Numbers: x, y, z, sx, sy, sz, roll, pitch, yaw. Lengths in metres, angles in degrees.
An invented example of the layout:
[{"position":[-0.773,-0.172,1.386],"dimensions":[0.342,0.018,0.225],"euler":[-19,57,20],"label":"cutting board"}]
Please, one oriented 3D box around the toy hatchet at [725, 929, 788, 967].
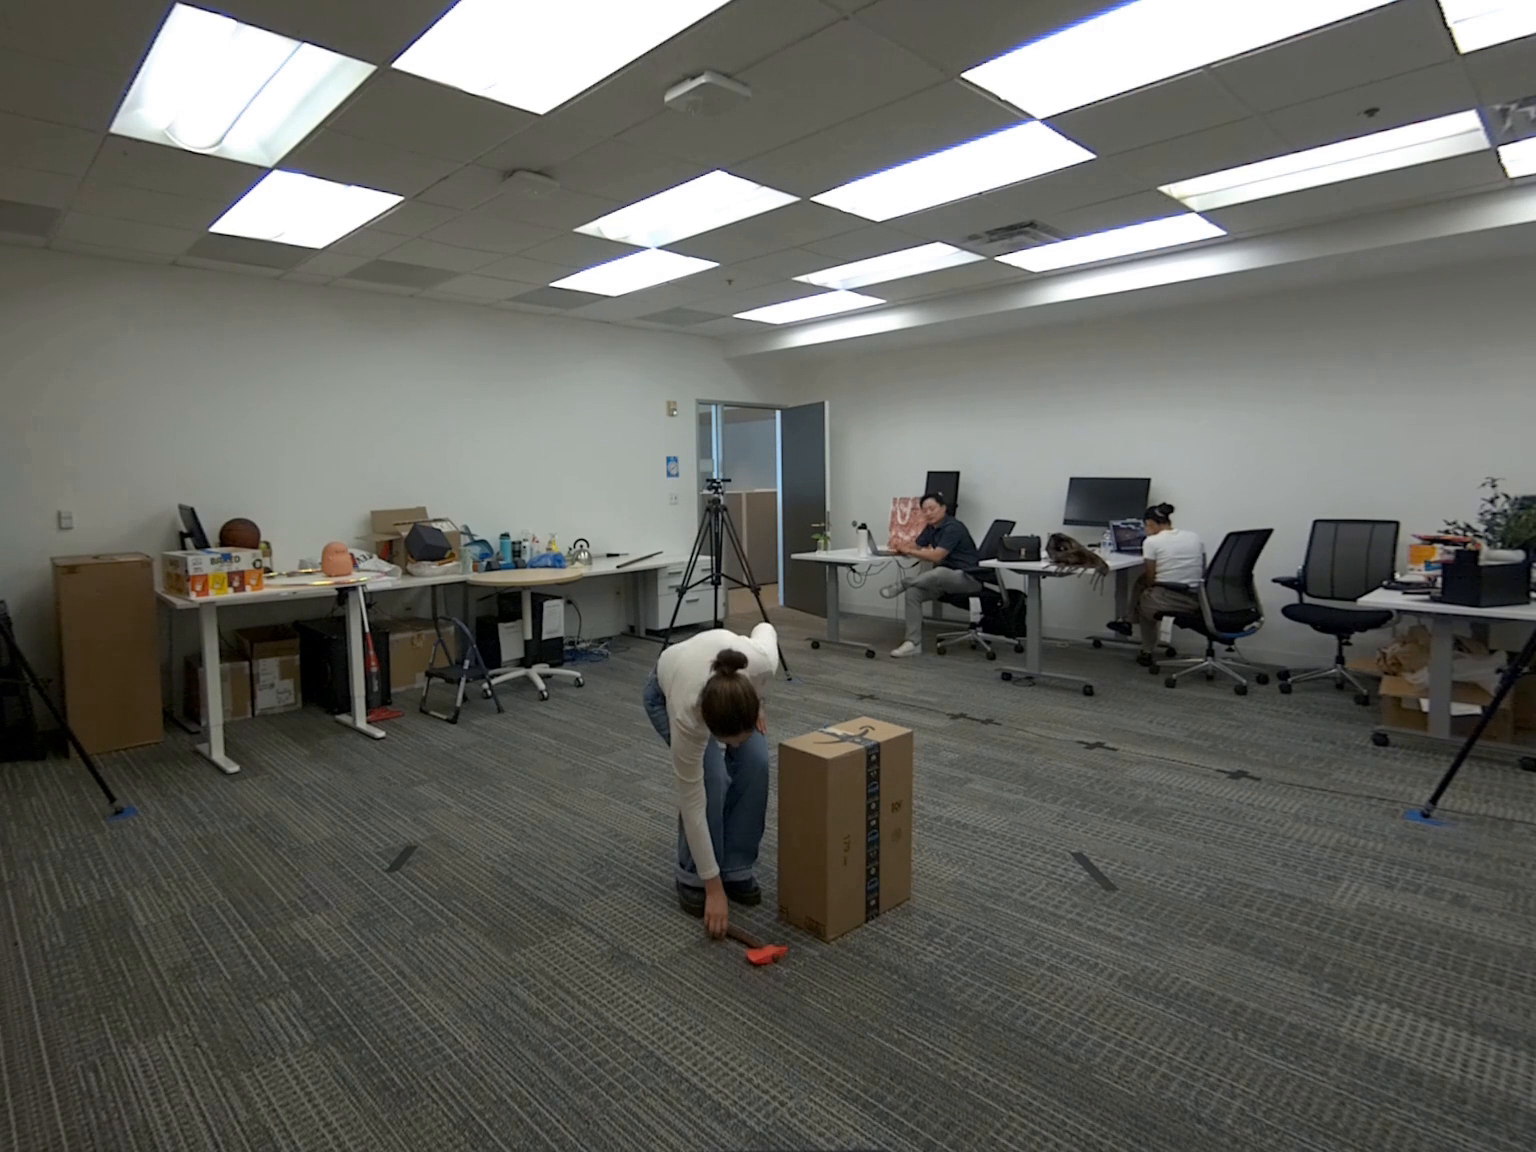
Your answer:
[{"position":[-0.079,1.097,2.541],"dimensions":[0.278,0.029,0.128],"euler":[3,5,34],"label":"toy hatchet"}]
